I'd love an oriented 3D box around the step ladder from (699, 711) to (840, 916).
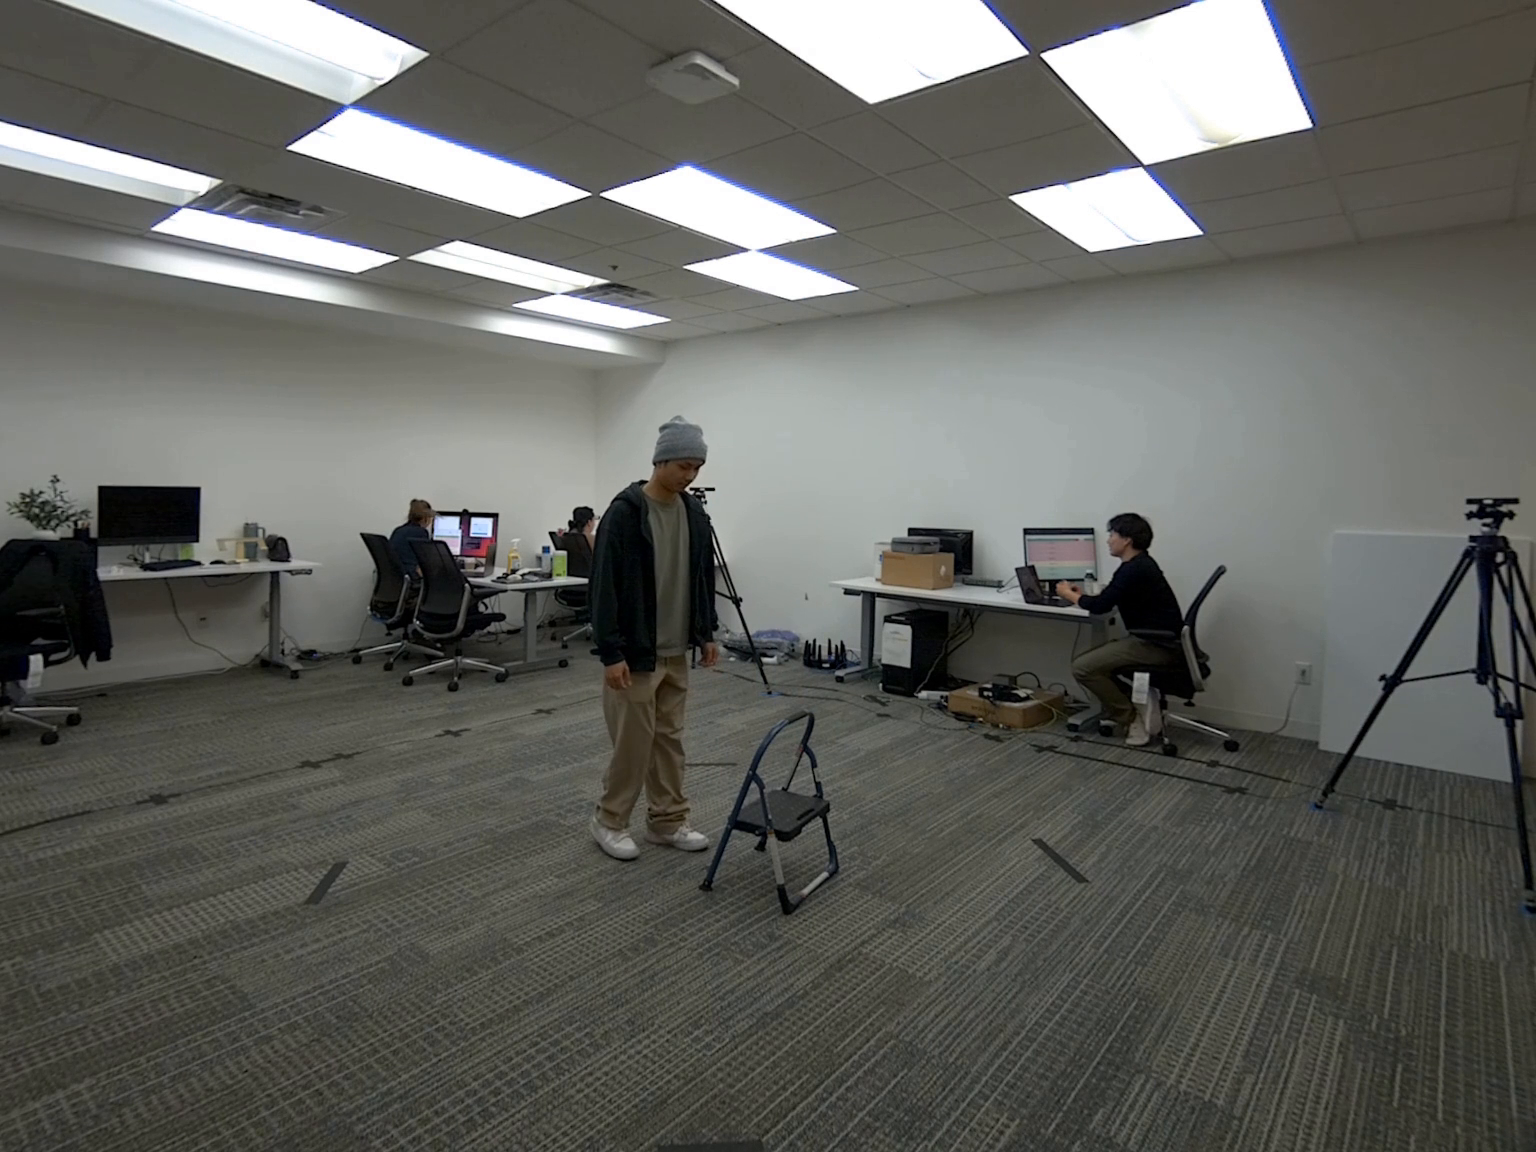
[{"bbox_3d":[0.014,0.777,3.018,0.359,0.604,0.420,3,4,29],"label":"step ladder"}]
